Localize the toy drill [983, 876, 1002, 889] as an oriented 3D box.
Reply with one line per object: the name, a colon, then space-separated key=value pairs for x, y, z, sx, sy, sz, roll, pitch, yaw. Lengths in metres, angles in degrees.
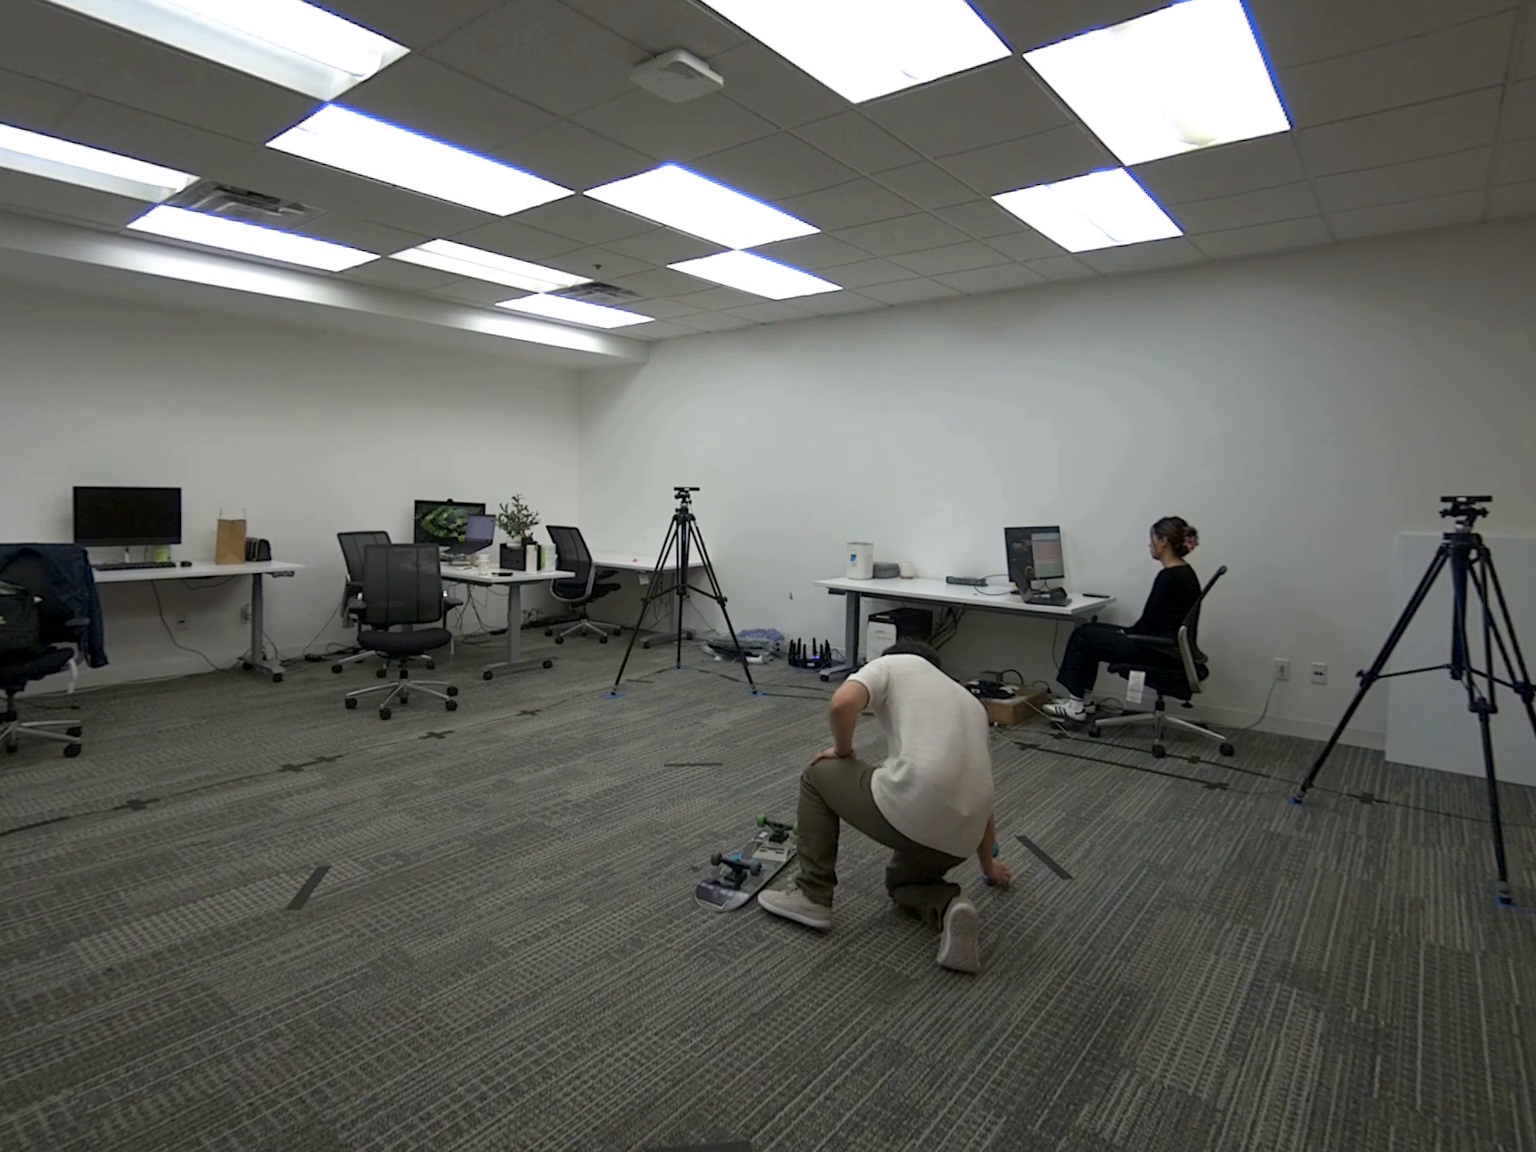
toy drill: x=0.790 y=1.009 z=3.090 sx=0.061 sy=0.146 sz=0.169 roll=3 pitch=1 yaw=1
